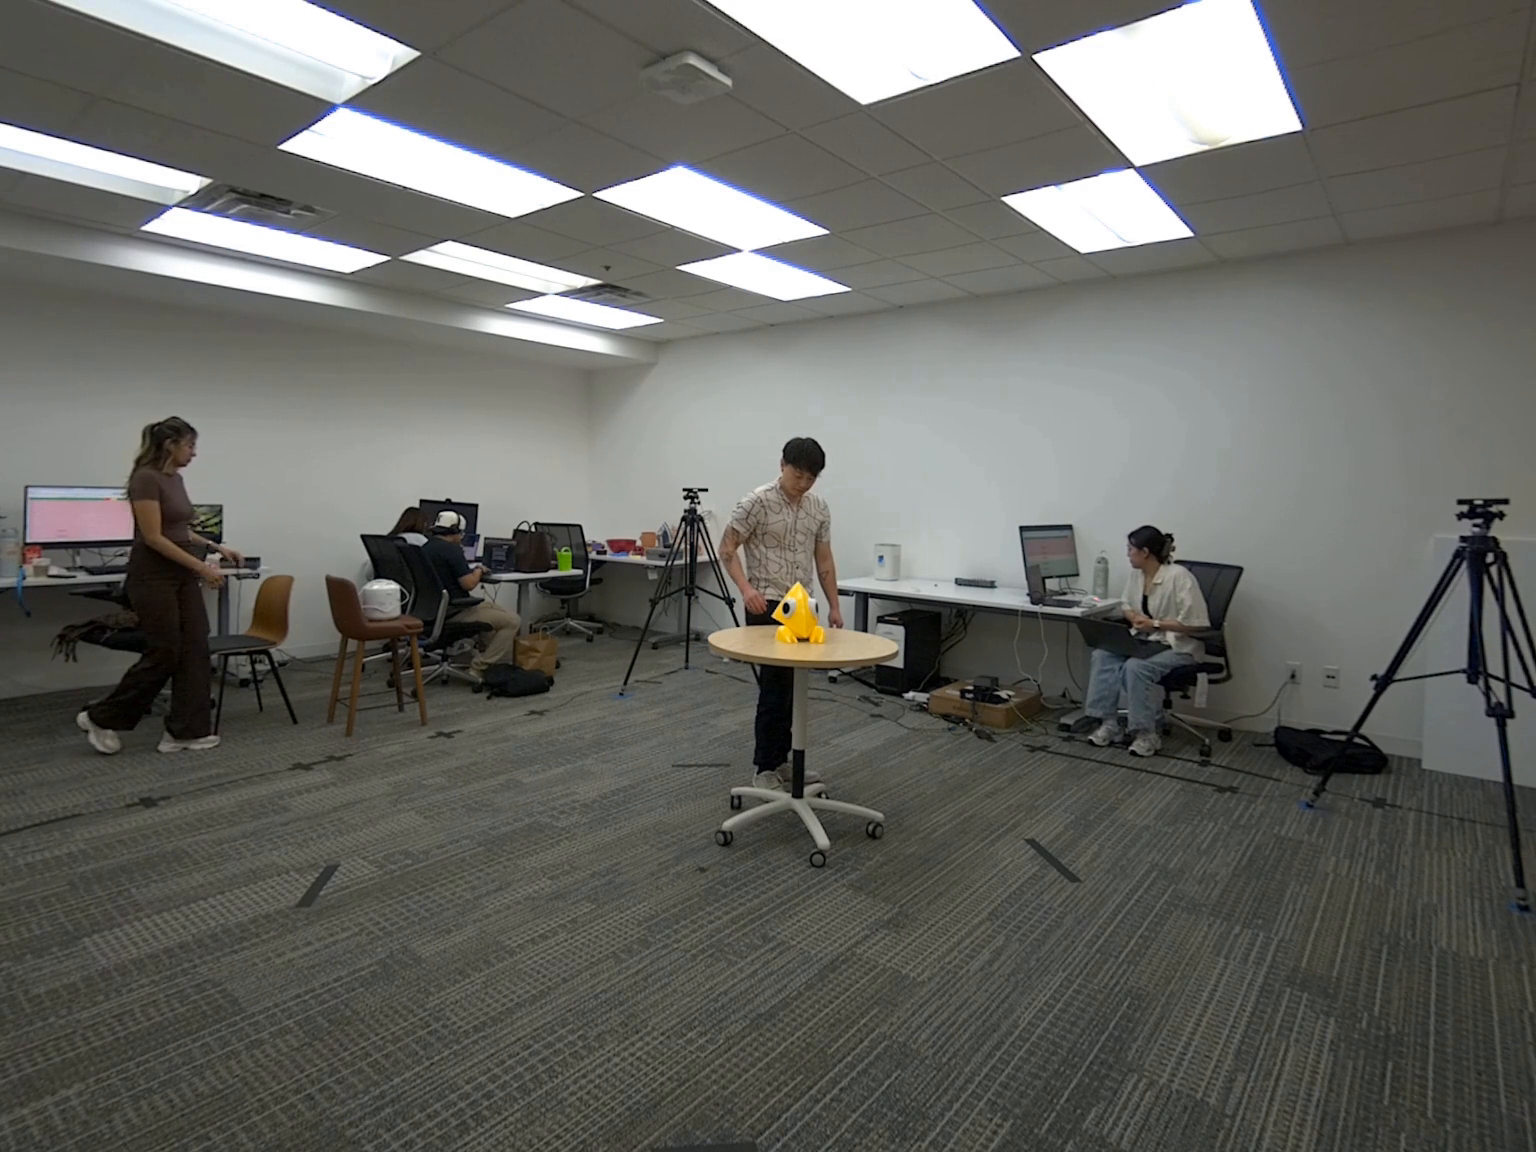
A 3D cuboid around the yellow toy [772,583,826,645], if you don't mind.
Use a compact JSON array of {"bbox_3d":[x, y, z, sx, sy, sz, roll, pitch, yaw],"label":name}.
[{"bbox_3d":[0.130,0.142,3.488,0.203,0.230,0.196,1,5,-10],"label":"yellow toy"}]
